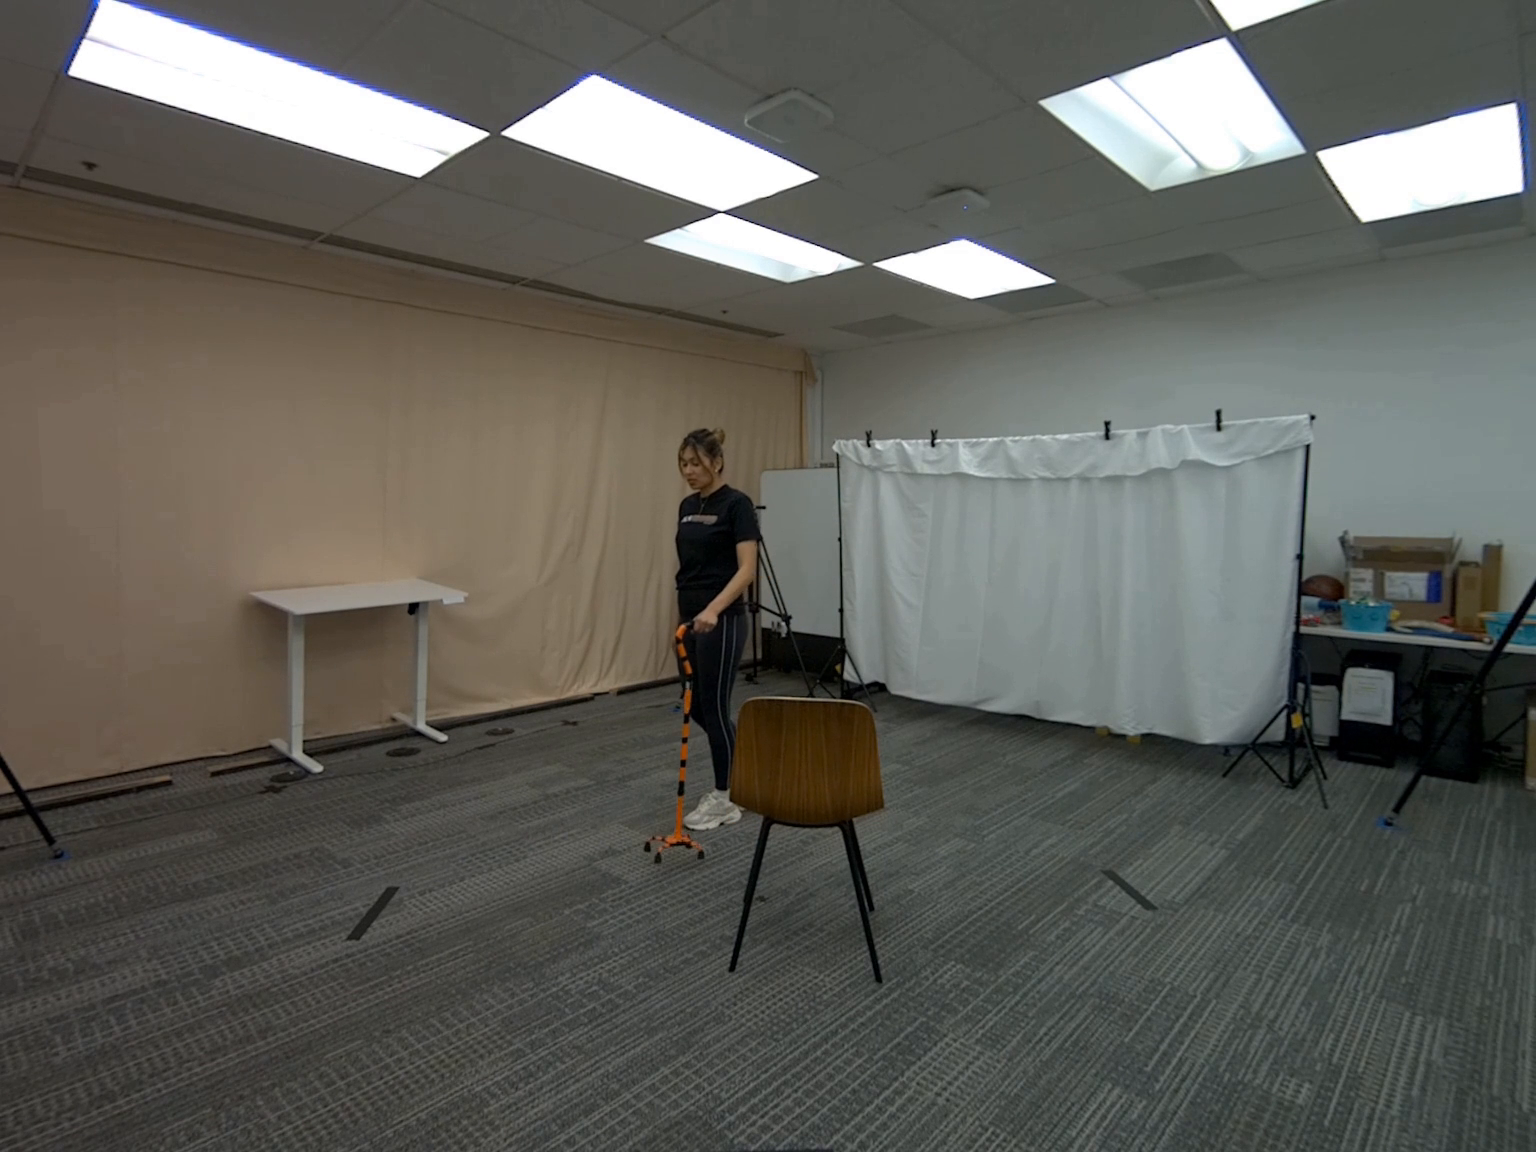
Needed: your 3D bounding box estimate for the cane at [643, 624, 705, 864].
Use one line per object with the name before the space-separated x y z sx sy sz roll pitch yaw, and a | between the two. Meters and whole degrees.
cane | -0.321 0.632 3.262 0.201 0.907 0.155 4 1 -26
